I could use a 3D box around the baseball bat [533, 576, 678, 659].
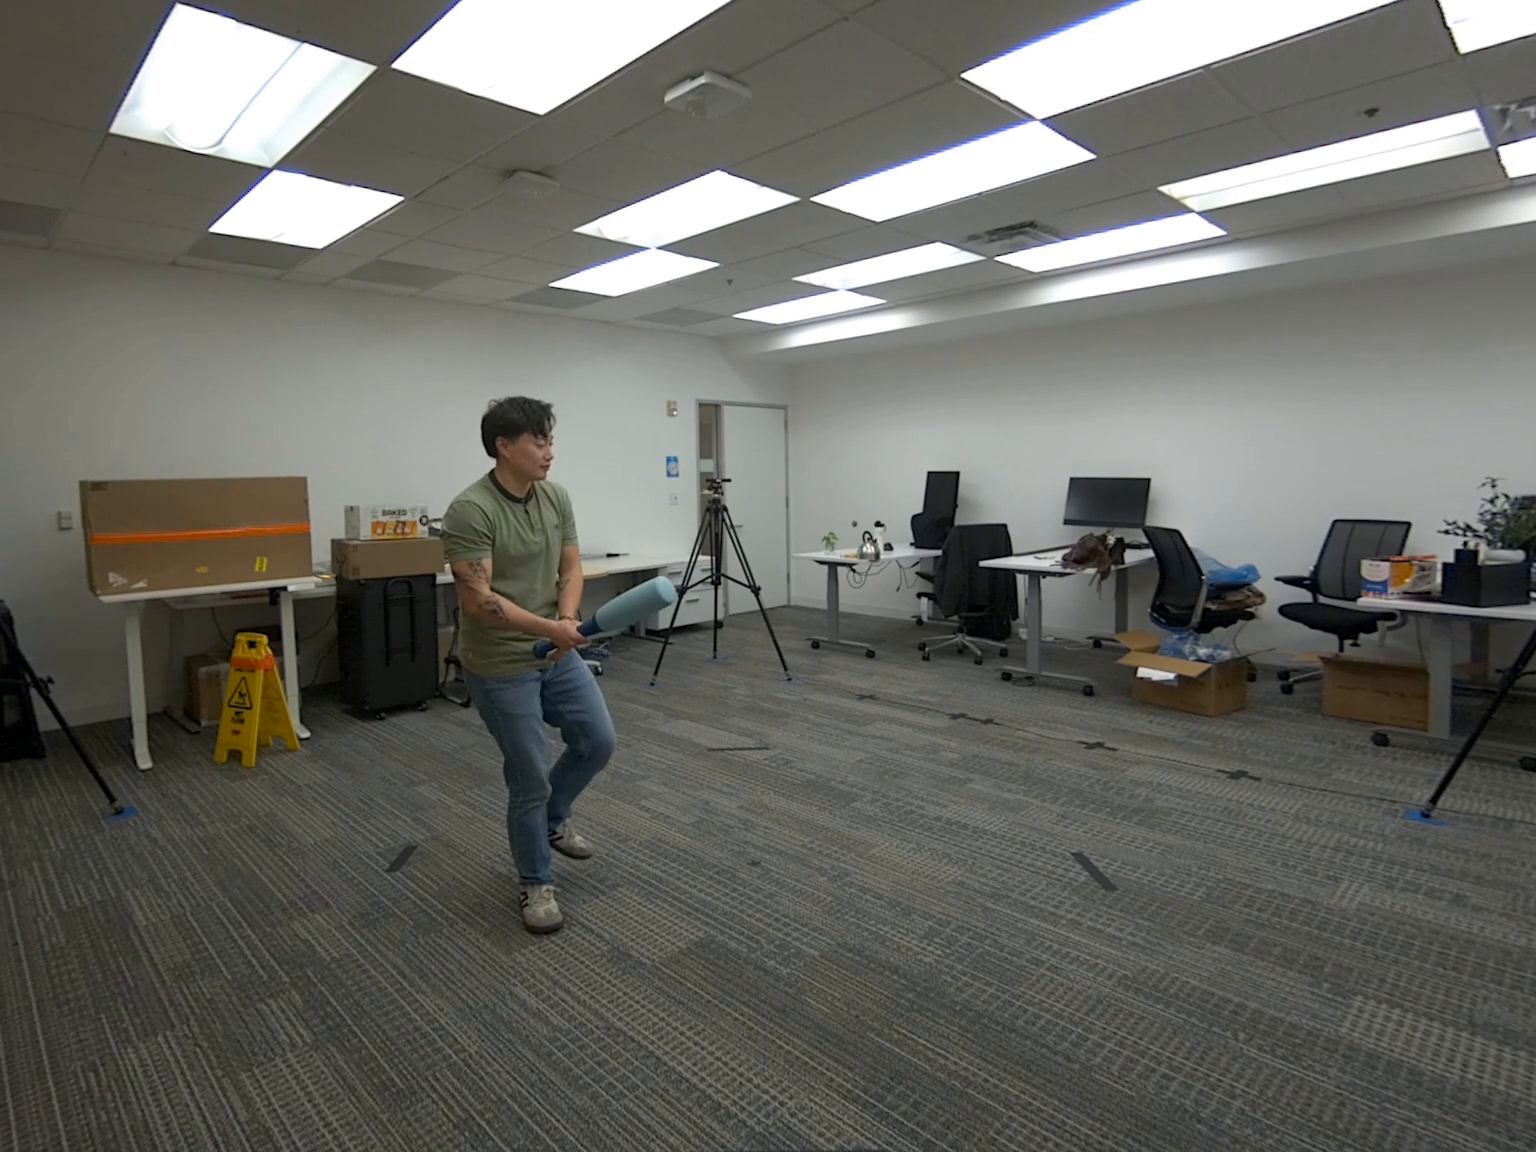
[{"bbox_3d":[-0.497,0.142,2.467,0.549,0.090,0.087,-25,-8,29],"label":"baseball bat"}]
